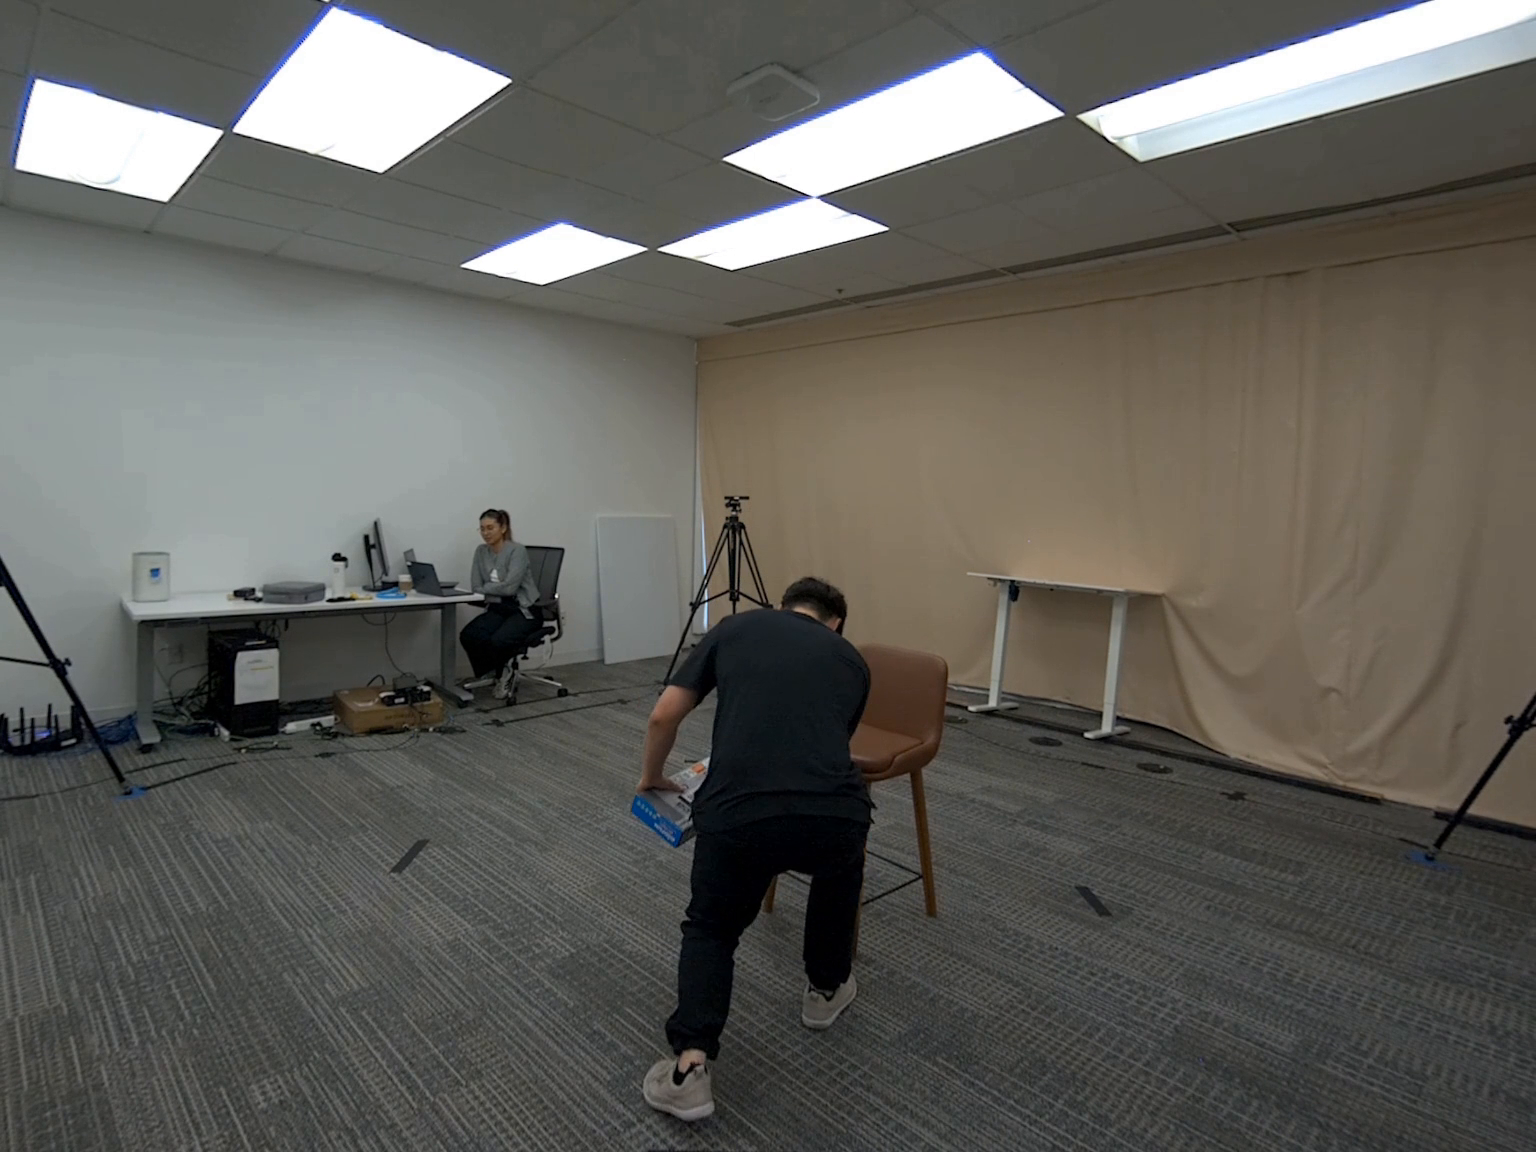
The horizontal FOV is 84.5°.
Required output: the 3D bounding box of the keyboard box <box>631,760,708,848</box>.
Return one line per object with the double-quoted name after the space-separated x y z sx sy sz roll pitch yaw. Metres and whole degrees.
-0.199 0.635 2.444 0.180 0.059 0.429 29 20 24 "keyboard box"
